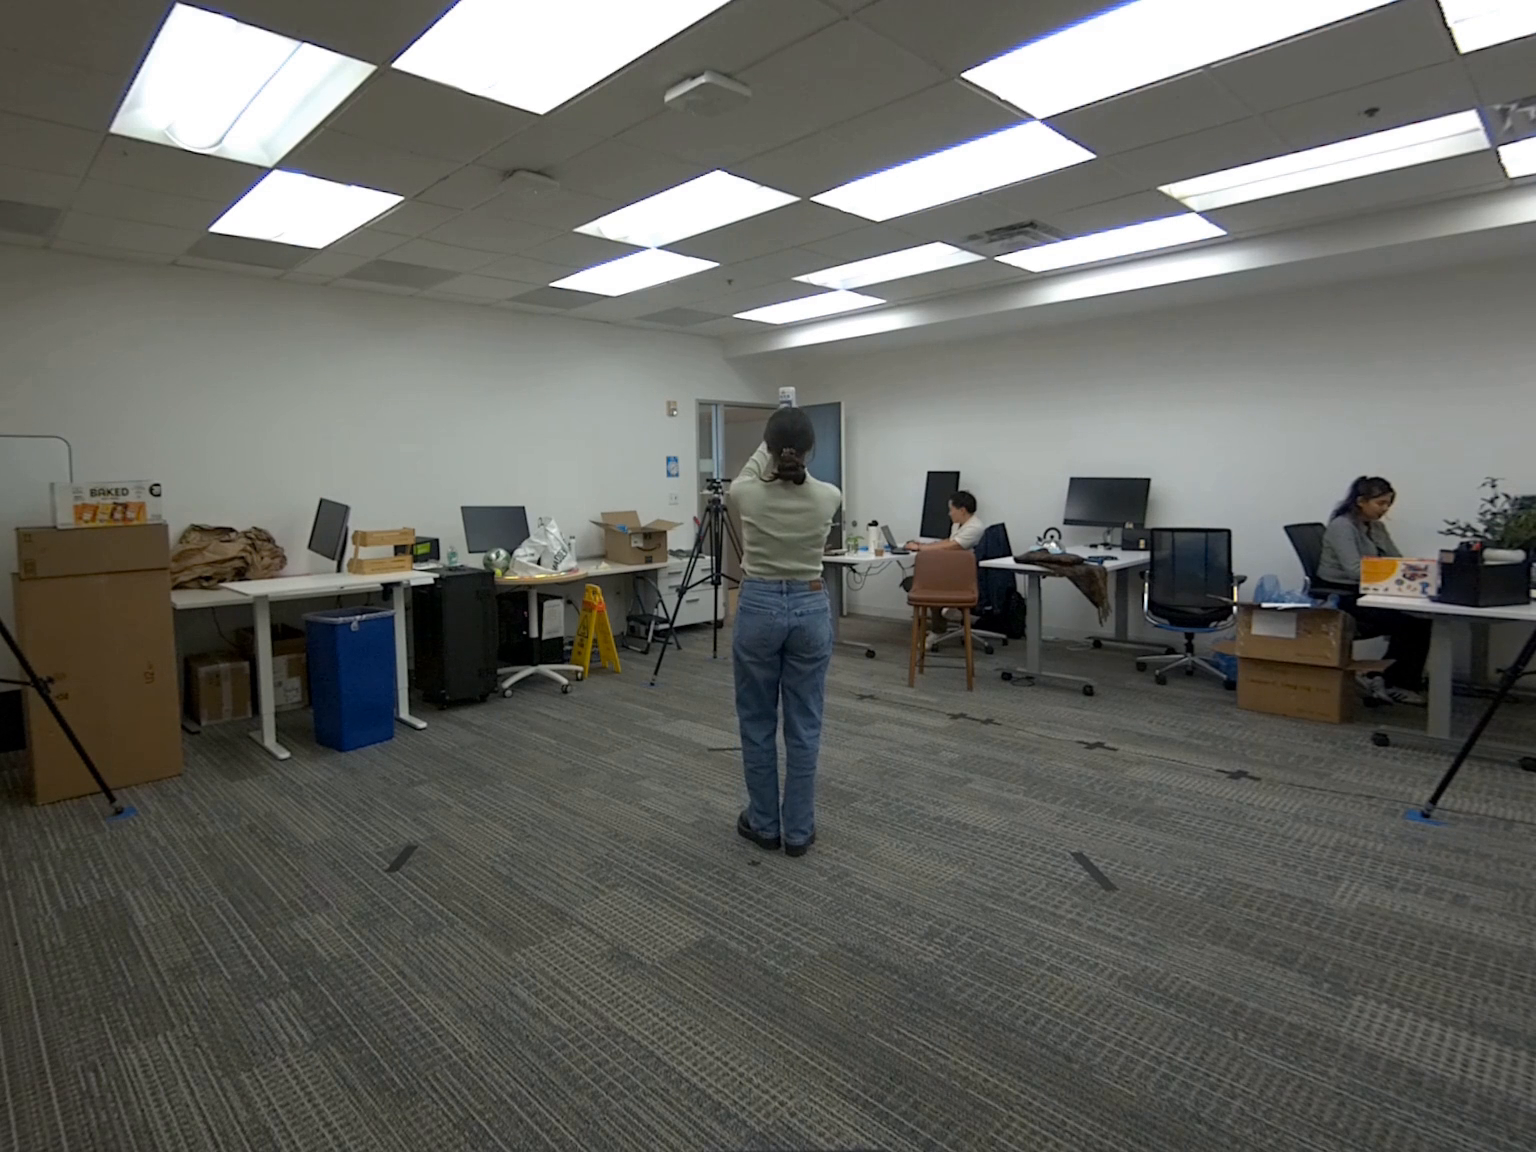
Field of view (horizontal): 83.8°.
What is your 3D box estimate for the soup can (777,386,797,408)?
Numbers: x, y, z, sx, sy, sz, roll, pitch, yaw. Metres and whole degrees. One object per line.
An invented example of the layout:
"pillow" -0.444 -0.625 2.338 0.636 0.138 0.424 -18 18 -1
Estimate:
"soup can" 0.073 -0.713 3.511 0.067 0.121 0.067 -2 7 -1
